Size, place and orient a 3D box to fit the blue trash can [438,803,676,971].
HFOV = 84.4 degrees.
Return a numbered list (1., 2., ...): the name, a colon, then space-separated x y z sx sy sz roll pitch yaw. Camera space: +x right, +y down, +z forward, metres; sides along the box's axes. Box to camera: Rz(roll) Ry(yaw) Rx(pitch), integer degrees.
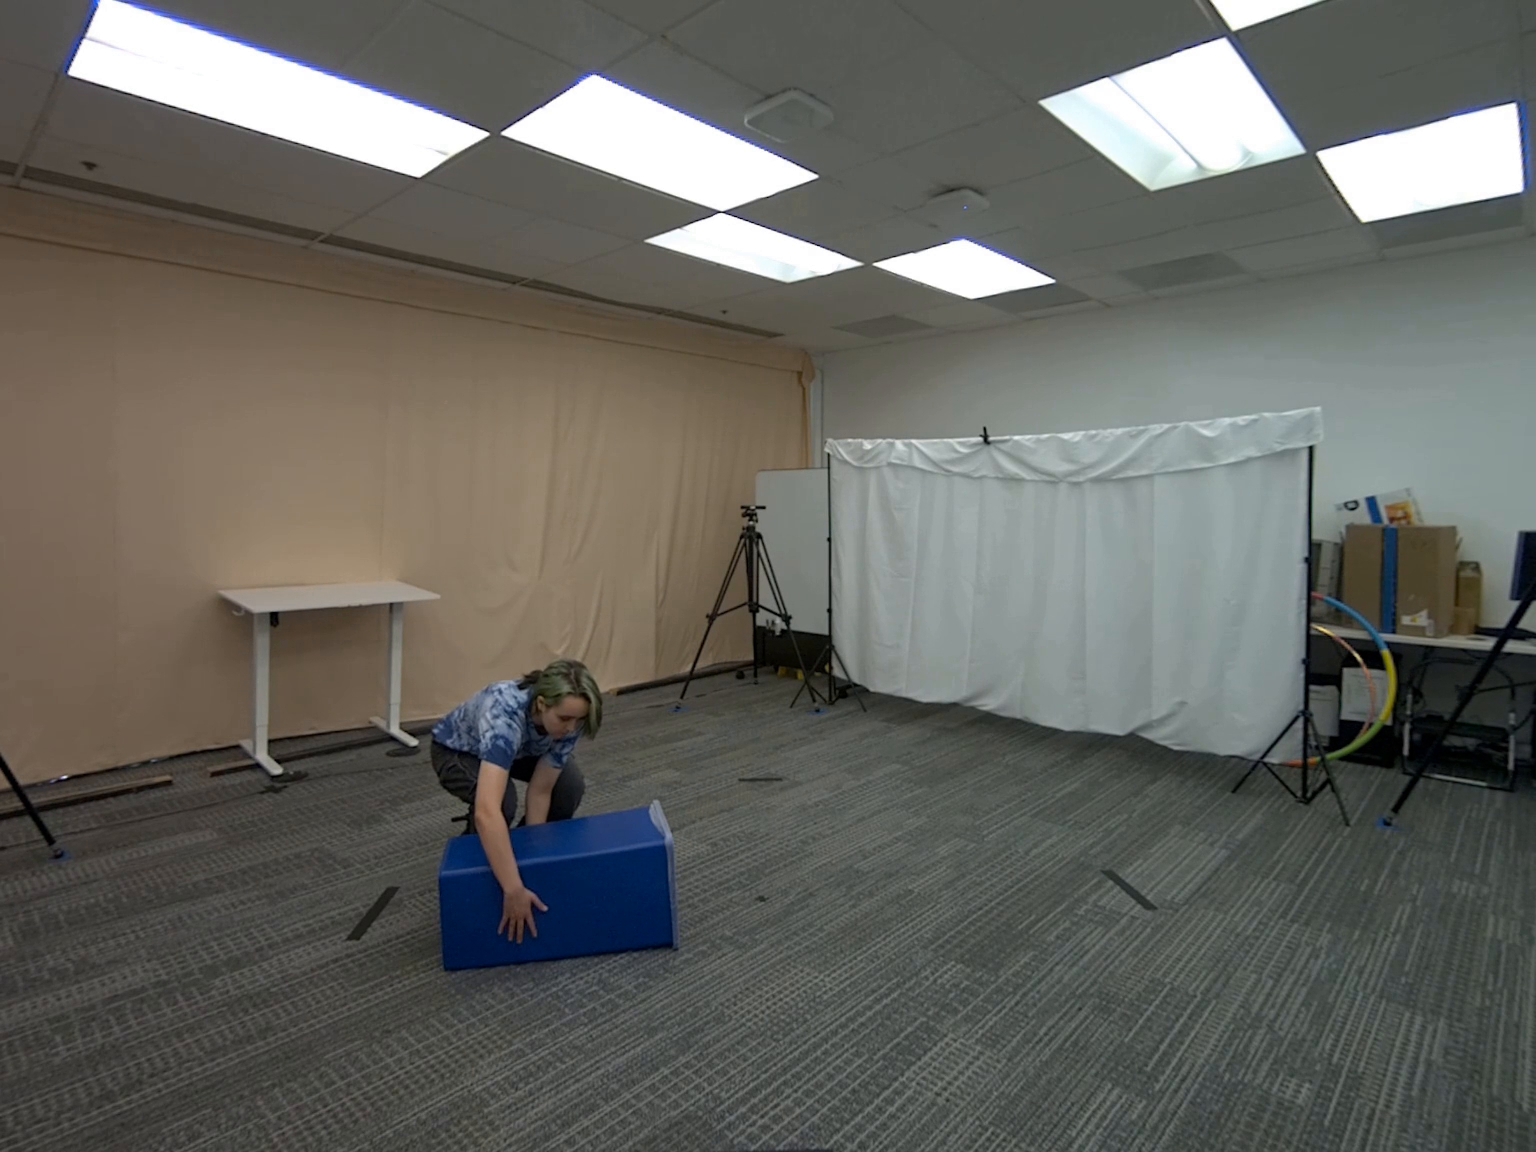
1. blue trash can: -0.664 0.993 2.721 0.704 0.373 0.384 -3 4 -13
